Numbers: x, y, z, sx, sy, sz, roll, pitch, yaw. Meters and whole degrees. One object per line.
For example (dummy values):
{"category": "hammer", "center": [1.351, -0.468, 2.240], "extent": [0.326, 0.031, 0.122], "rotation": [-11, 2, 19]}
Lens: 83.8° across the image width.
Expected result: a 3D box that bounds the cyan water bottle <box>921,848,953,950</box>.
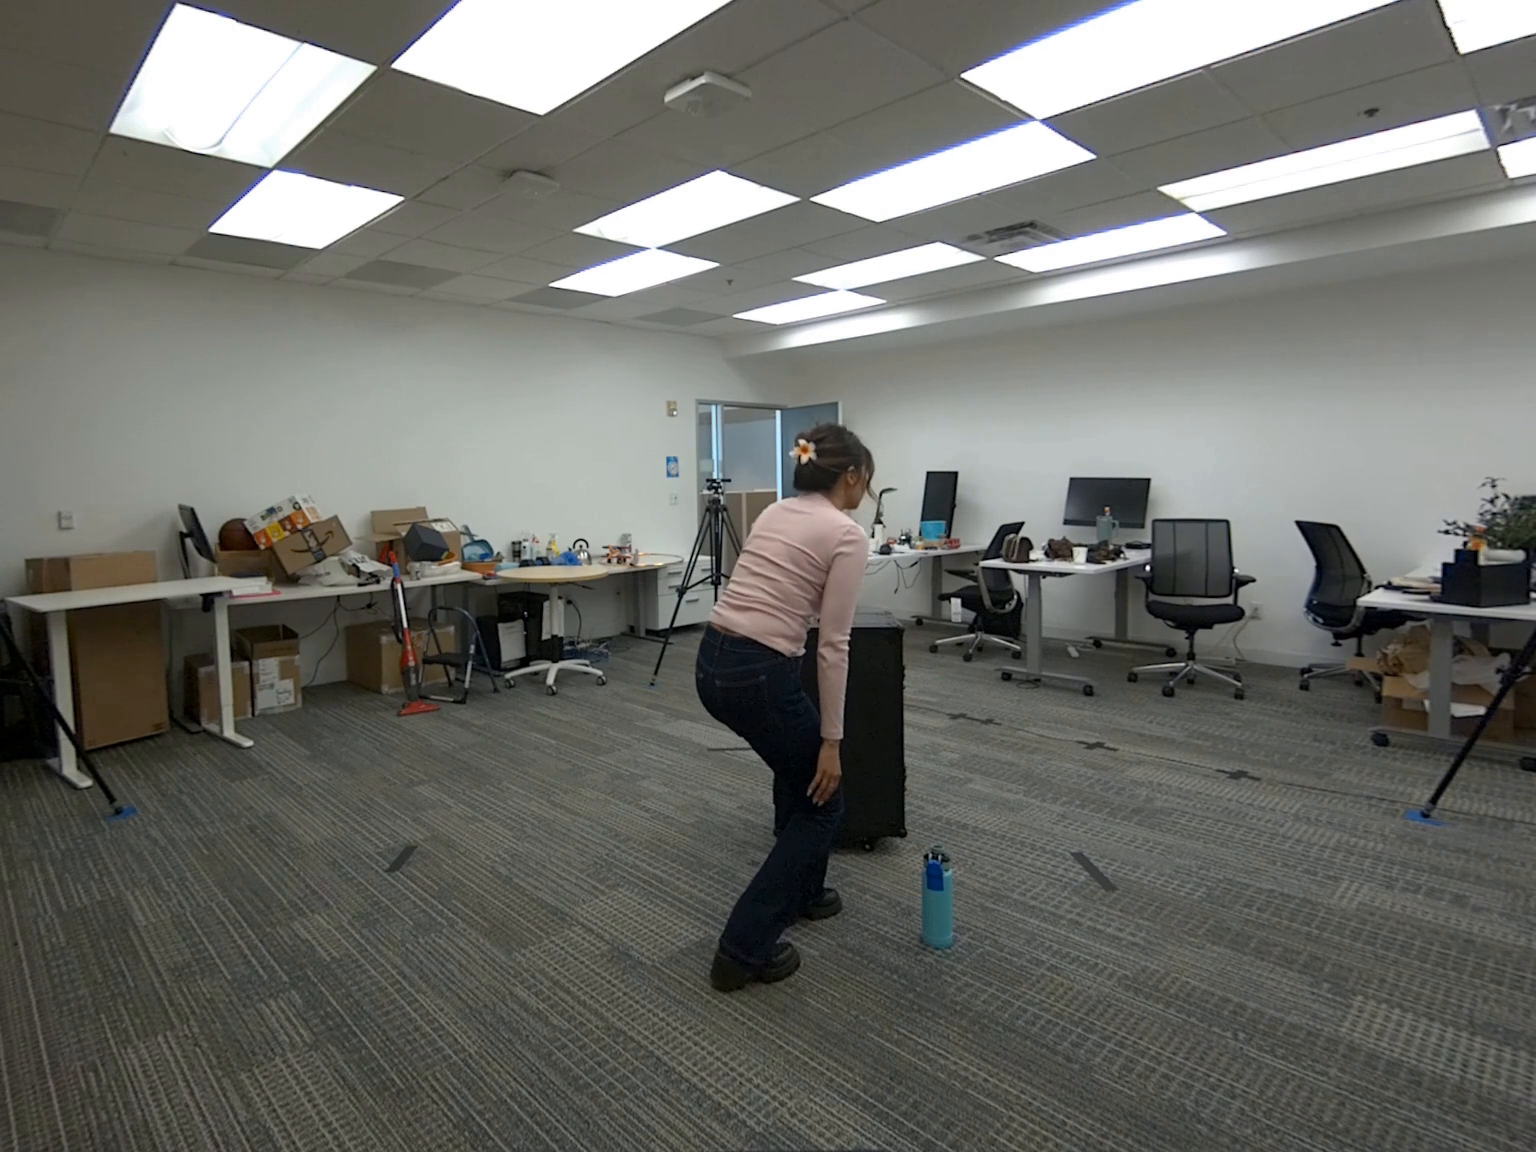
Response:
{"category": "cyan water bottle", "center": [0.509, 0.961, 2.552], "extent": [0.092, 0.282, 0.093], "rotation": [-1, 4, -2]}
